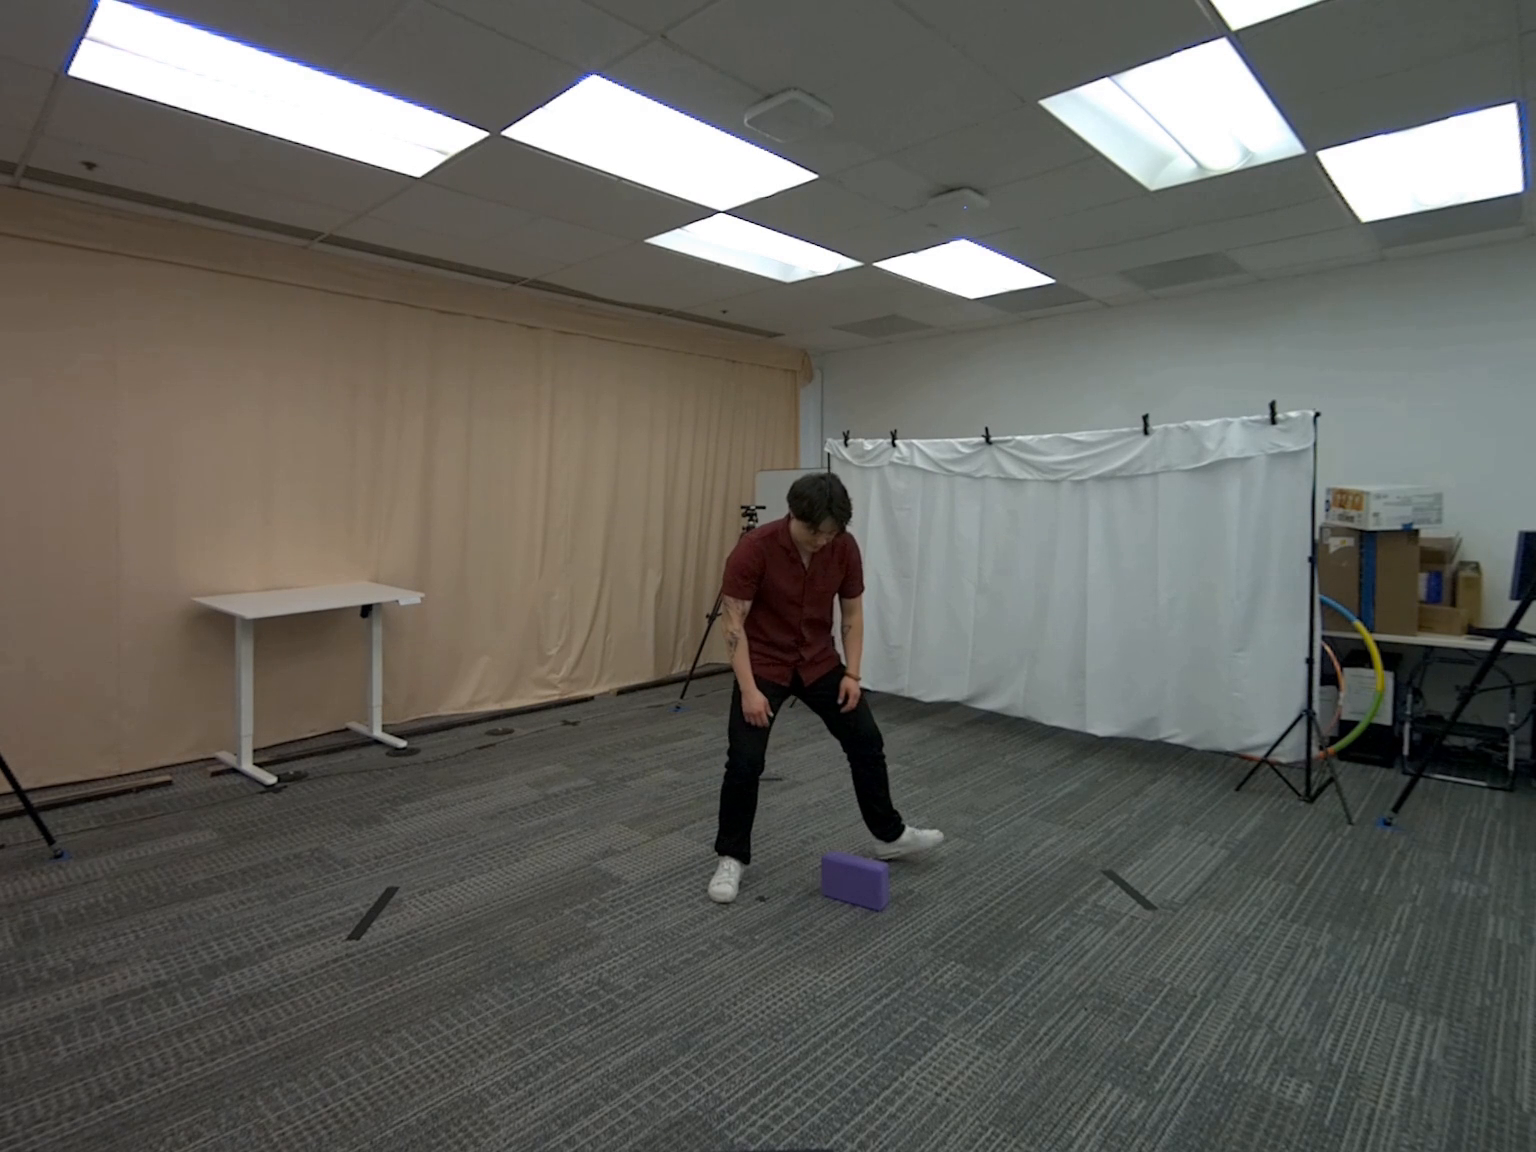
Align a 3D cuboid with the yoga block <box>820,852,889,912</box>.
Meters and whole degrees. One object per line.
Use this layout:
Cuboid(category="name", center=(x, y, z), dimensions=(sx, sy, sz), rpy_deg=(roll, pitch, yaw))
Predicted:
Cuboid(category="yoga block", center=(0.308, 1.066, 2.963), dimensions=(0.236, 0.148, 0.074), rpy_deg=(4, 6, 34))
